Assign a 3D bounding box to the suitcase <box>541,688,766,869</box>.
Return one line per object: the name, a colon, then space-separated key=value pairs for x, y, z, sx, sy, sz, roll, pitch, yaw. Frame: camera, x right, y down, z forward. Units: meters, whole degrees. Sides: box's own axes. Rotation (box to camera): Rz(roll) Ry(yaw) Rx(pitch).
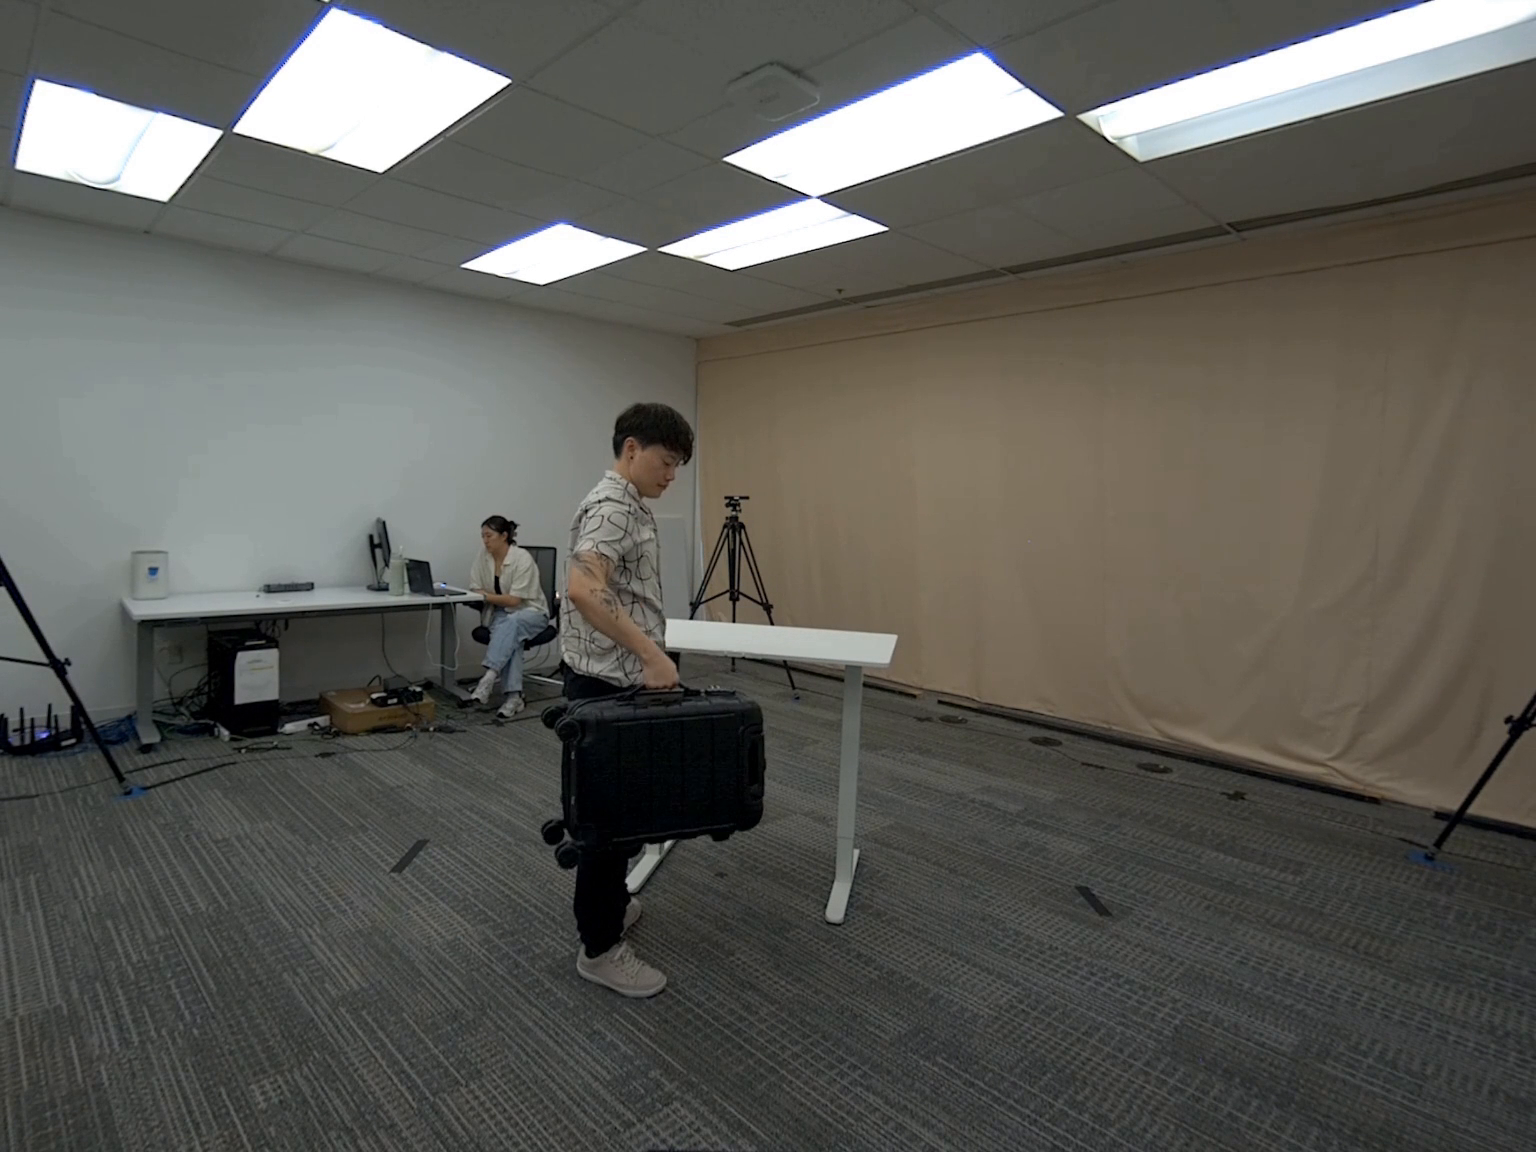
suitcase: x=-0.292 y=0.478 z=2.156 sx=0.541 sy=0.376 sz=0.252 roll=-1 pitch=-1 yaw=-21
